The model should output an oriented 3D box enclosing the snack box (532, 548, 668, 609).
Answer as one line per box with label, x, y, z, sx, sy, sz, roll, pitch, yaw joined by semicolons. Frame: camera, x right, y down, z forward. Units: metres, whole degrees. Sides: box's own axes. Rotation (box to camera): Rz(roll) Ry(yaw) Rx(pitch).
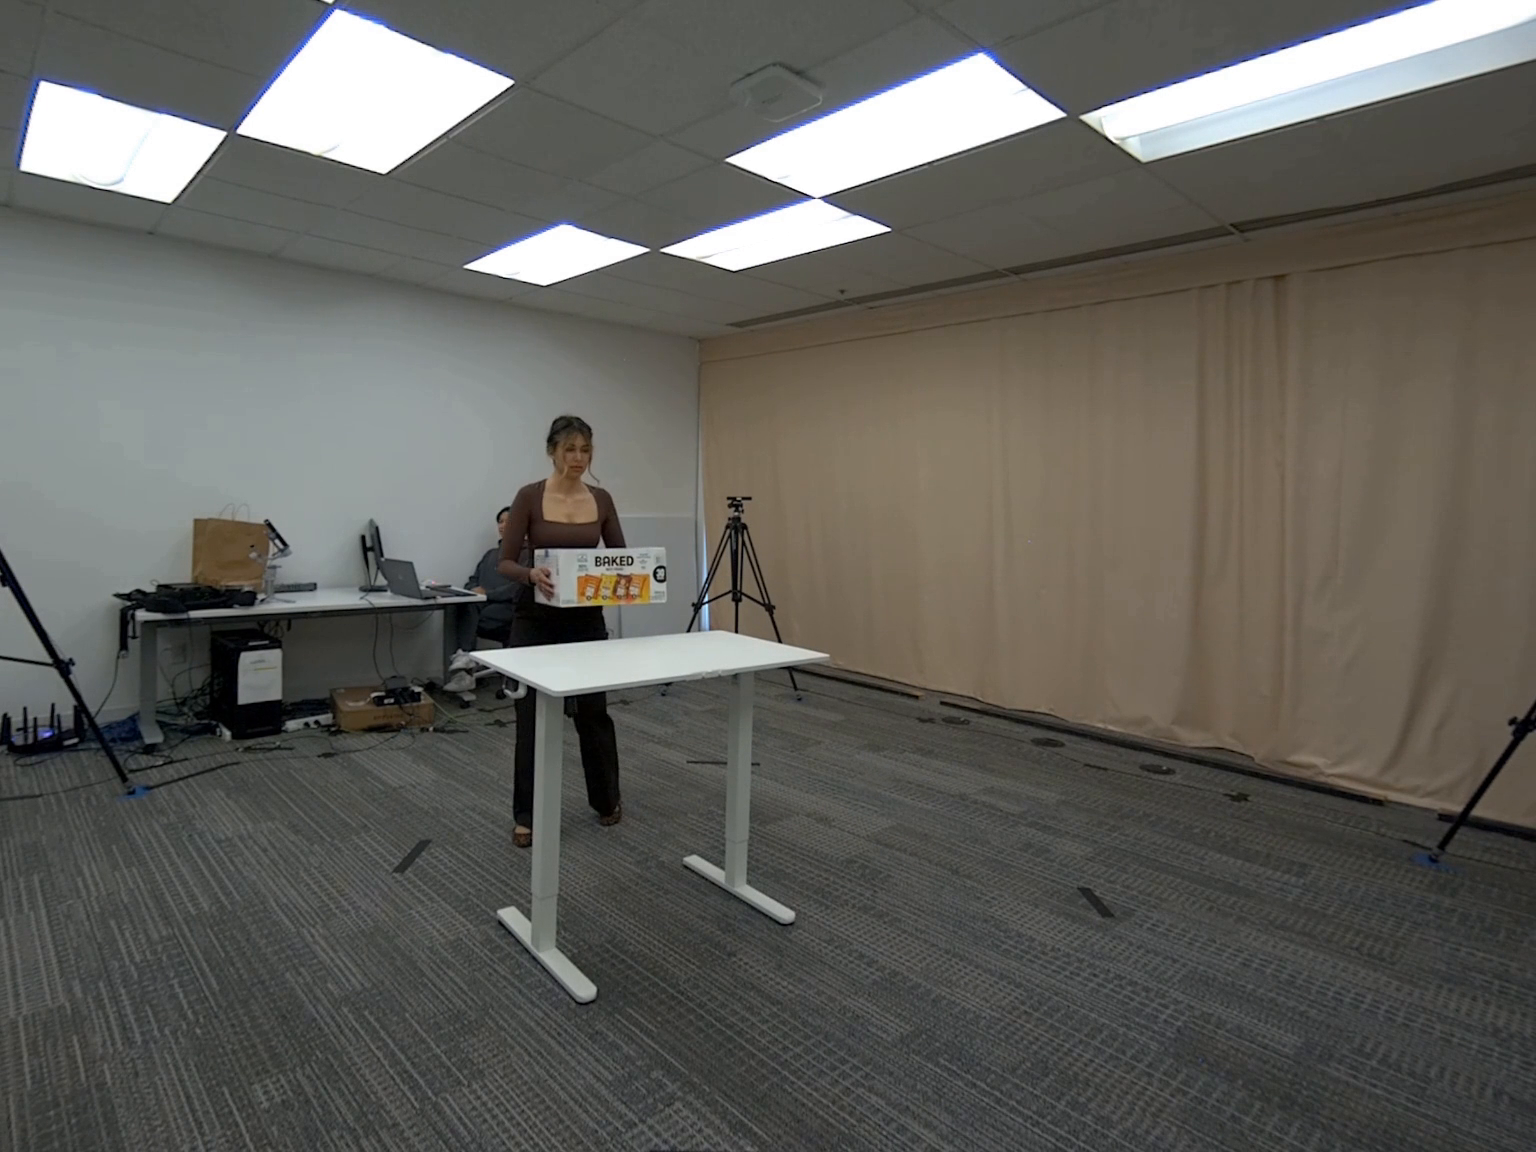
snack box;-0.634;0.002;3.162;0.397;0.205;0.347;-2;2;-29
